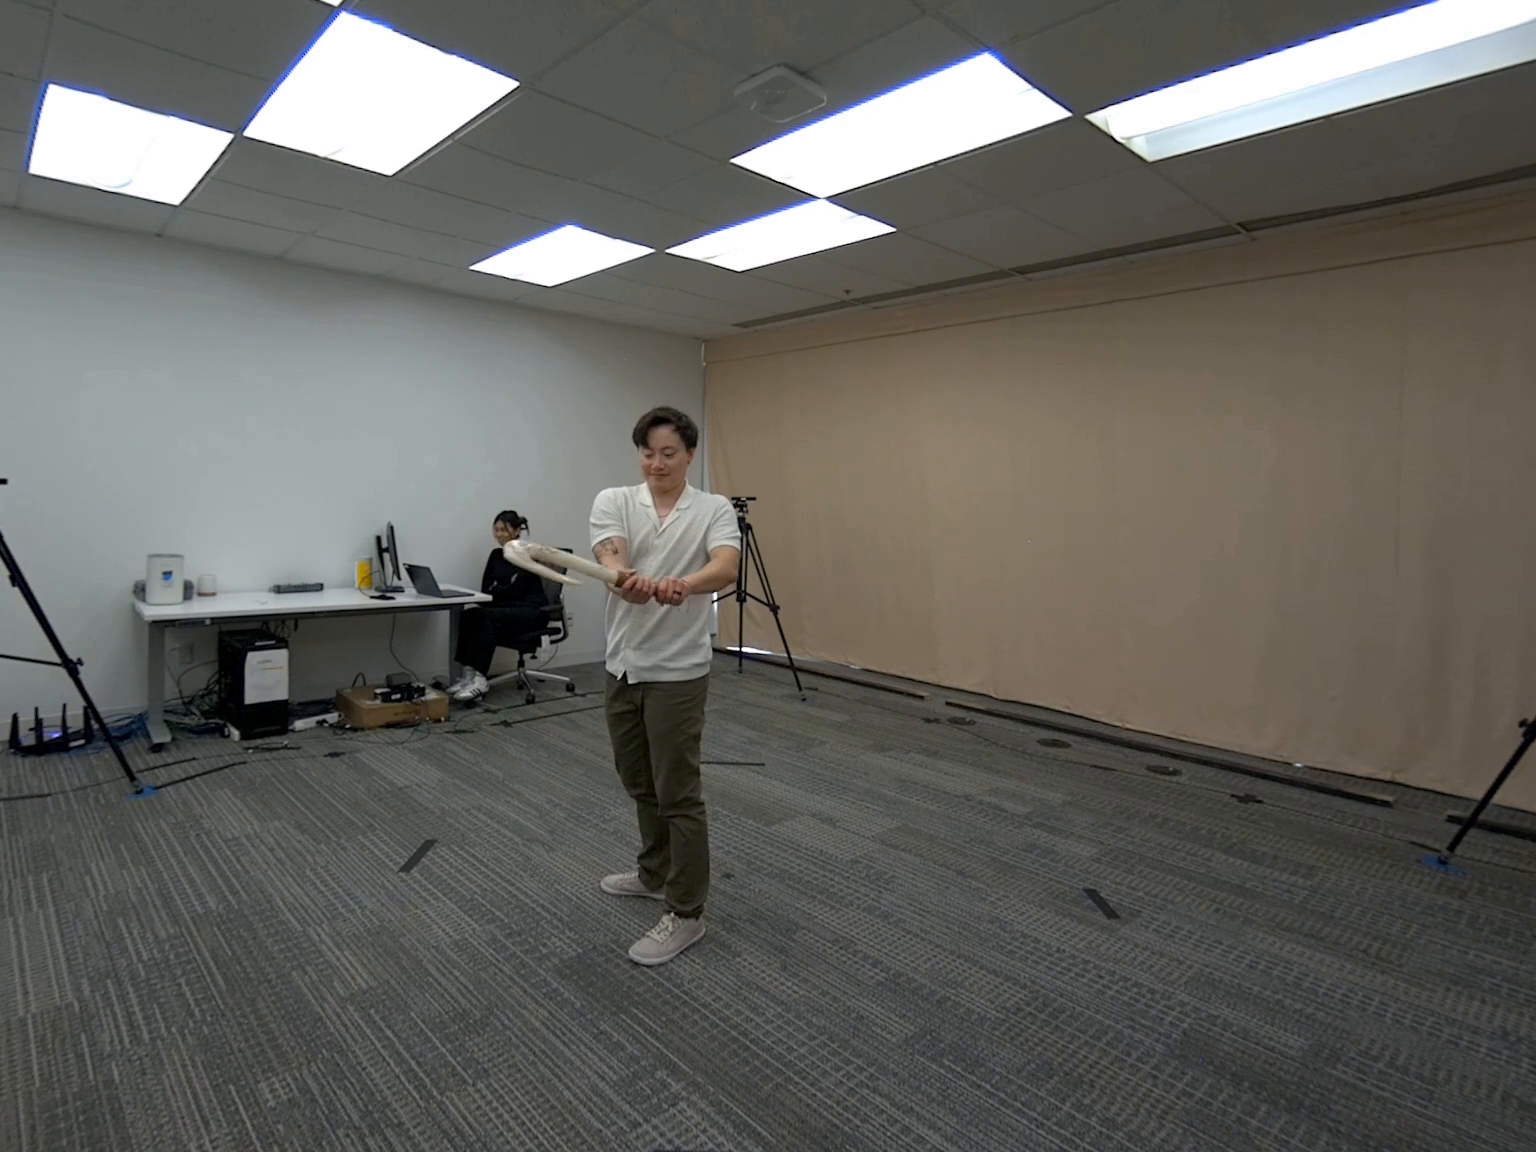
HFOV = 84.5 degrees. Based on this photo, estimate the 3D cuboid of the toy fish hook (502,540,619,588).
[{"bbox_3d":[-0.440,0.014,2.182,0.496,0.048,0.230,18,17,-23],"label":"toy fish hook"}]
